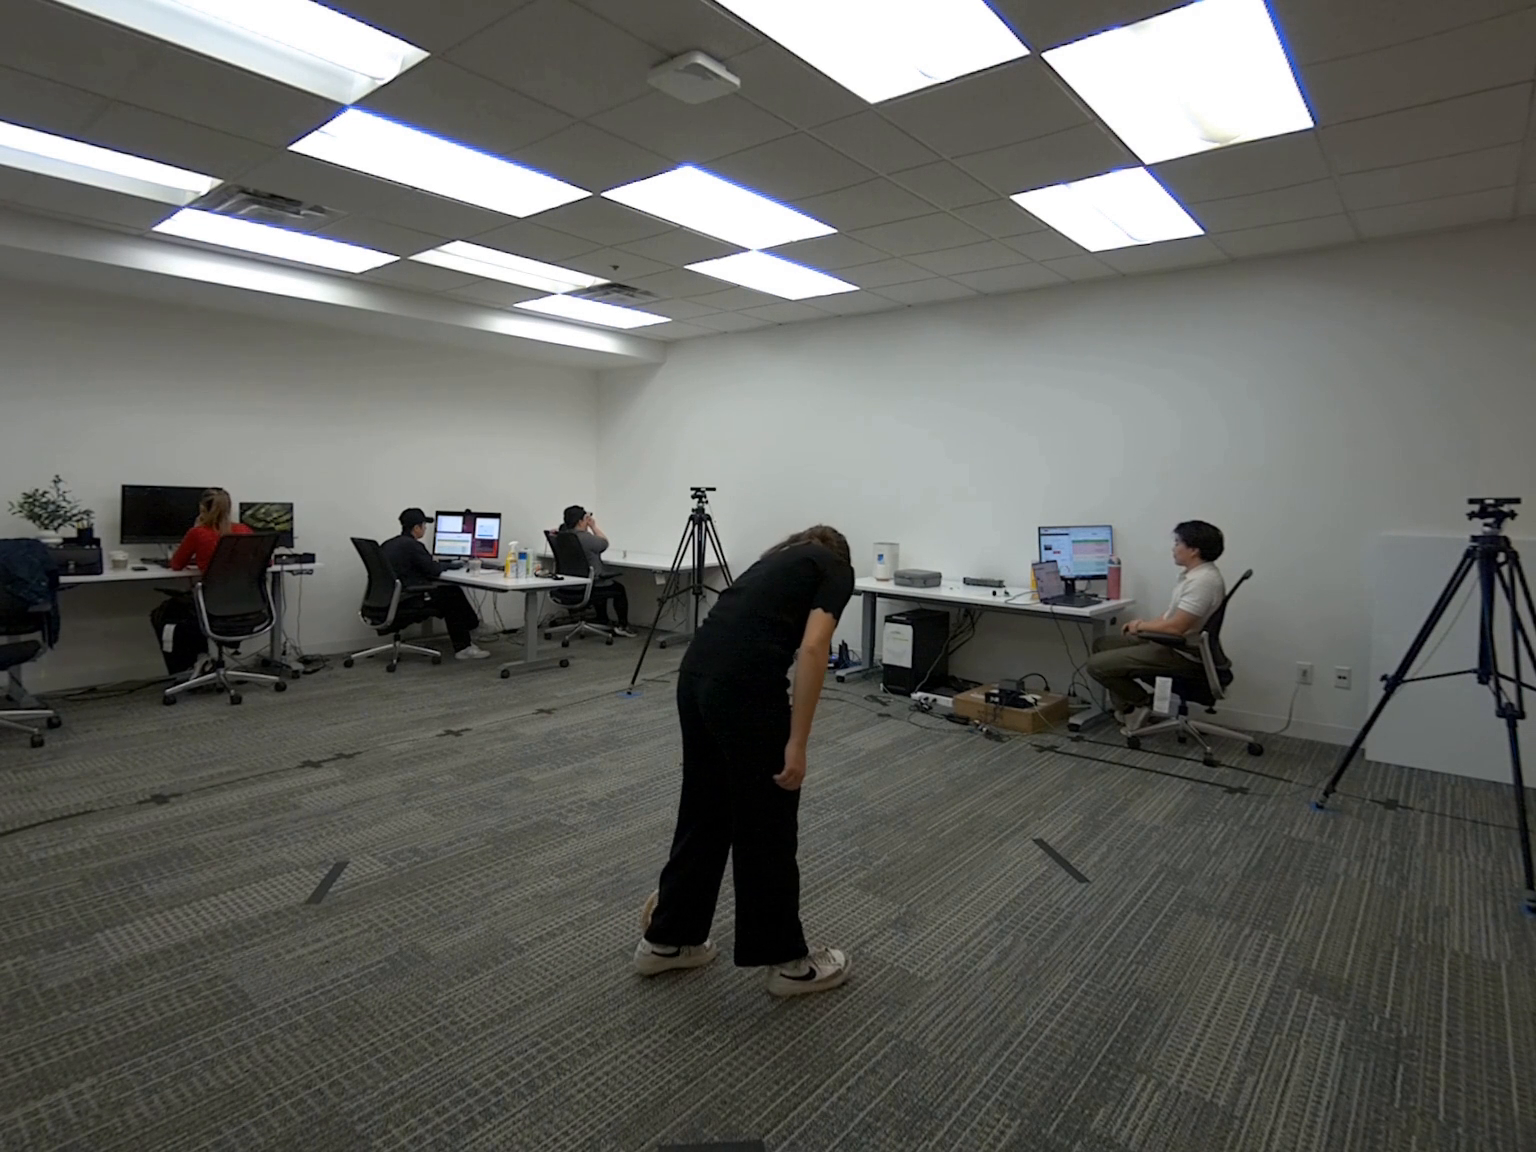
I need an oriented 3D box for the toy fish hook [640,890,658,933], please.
[{"bbox_3d":[-0.265,0.878,2.583,0.050,0.503,0.218,28,17,28],"label":"toy fish hook"}]
